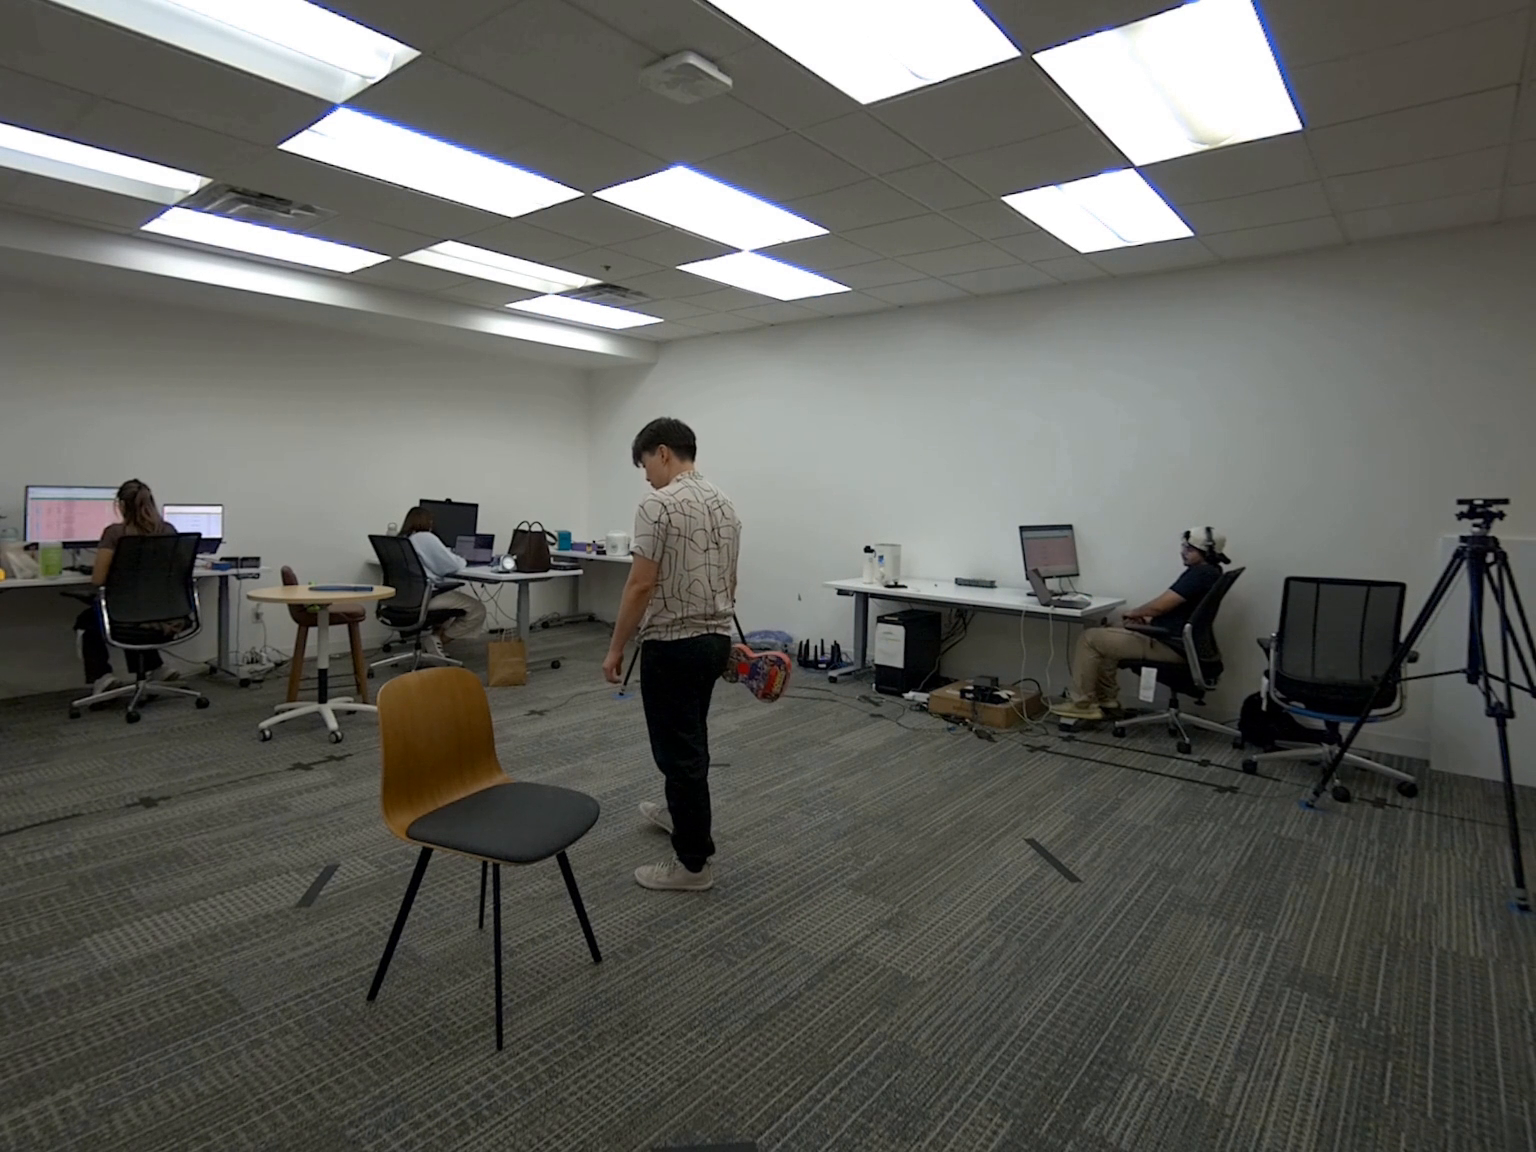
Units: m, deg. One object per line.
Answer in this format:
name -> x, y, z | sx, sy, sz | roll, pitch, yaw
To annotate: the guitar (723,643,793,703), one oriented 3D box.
guitar -> -0.158, 0.307, 3.327 | 0.508, 0.192, 0.069 | 27, 11, 14
